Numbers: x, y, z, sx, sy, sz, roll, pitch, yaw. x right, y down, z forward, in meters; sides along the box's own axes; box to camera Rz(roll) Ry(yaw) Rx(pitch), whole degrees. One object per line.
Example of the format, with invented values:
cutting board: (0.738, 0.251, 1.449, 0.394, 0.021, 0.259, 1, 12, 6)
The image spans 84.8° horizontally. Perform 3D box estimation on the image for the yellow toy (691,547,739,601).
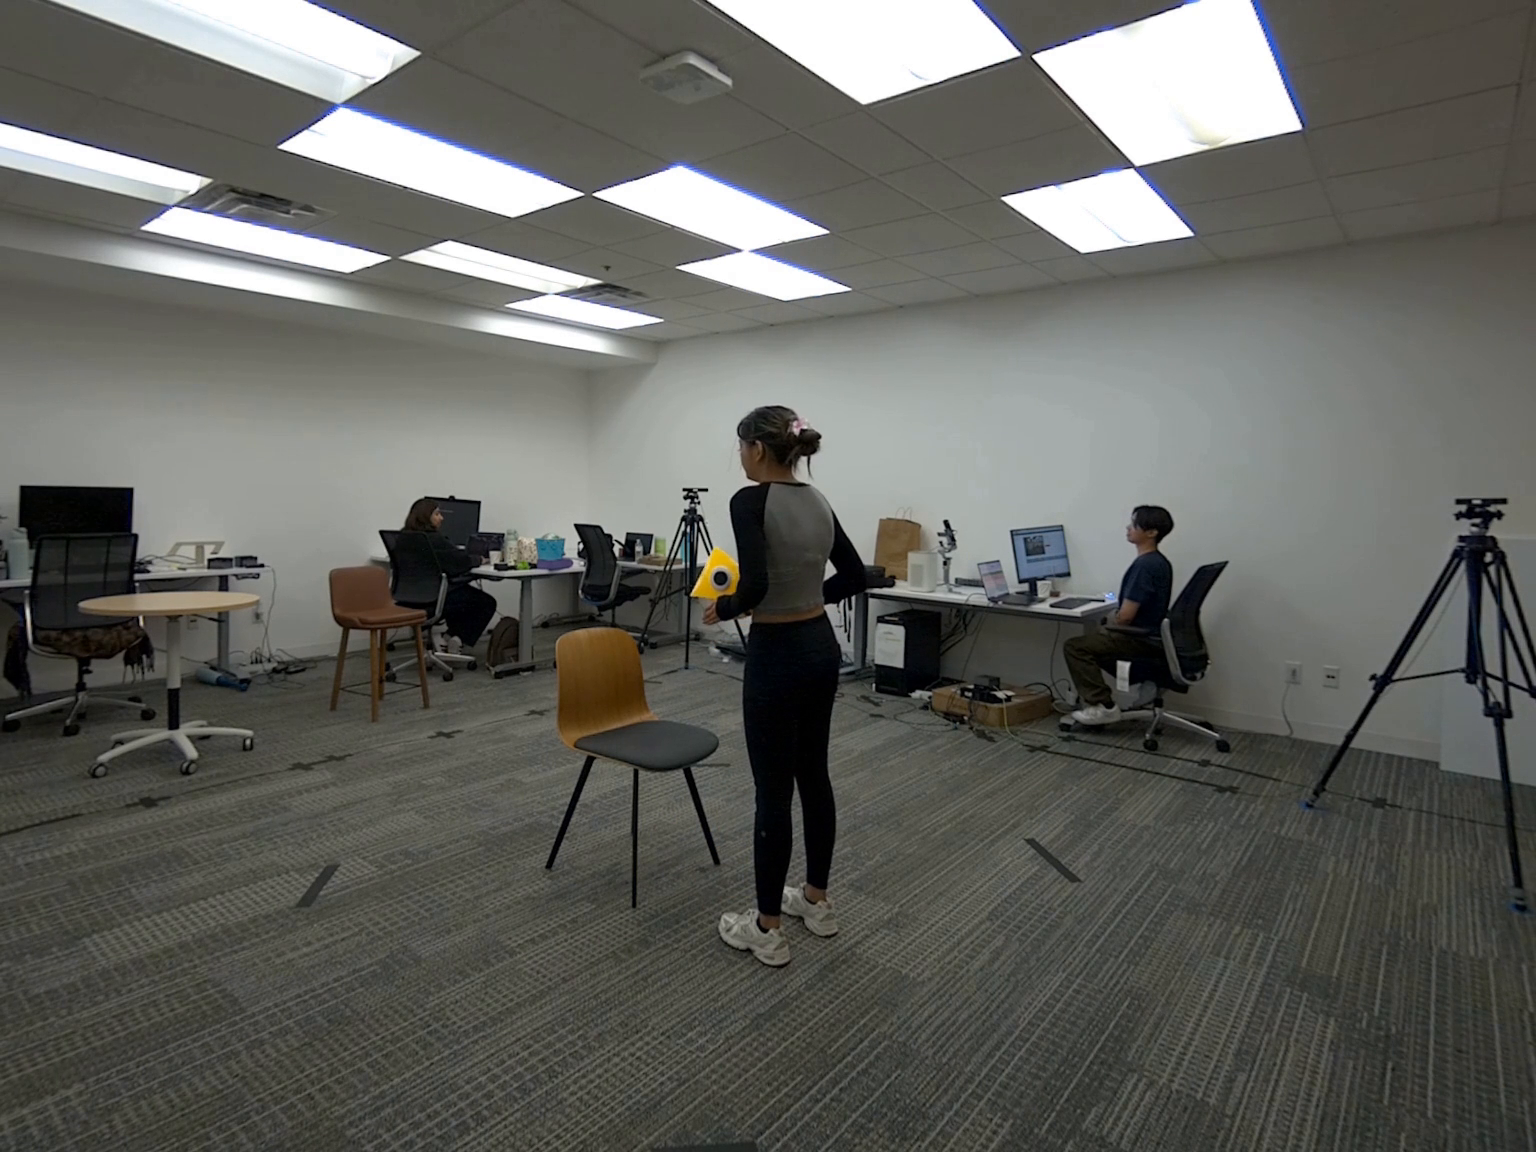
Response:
yellow toy: (-0.121, 0.013, 2.740, 0.198, 0.231, 0.199, -5, -1, 40)
